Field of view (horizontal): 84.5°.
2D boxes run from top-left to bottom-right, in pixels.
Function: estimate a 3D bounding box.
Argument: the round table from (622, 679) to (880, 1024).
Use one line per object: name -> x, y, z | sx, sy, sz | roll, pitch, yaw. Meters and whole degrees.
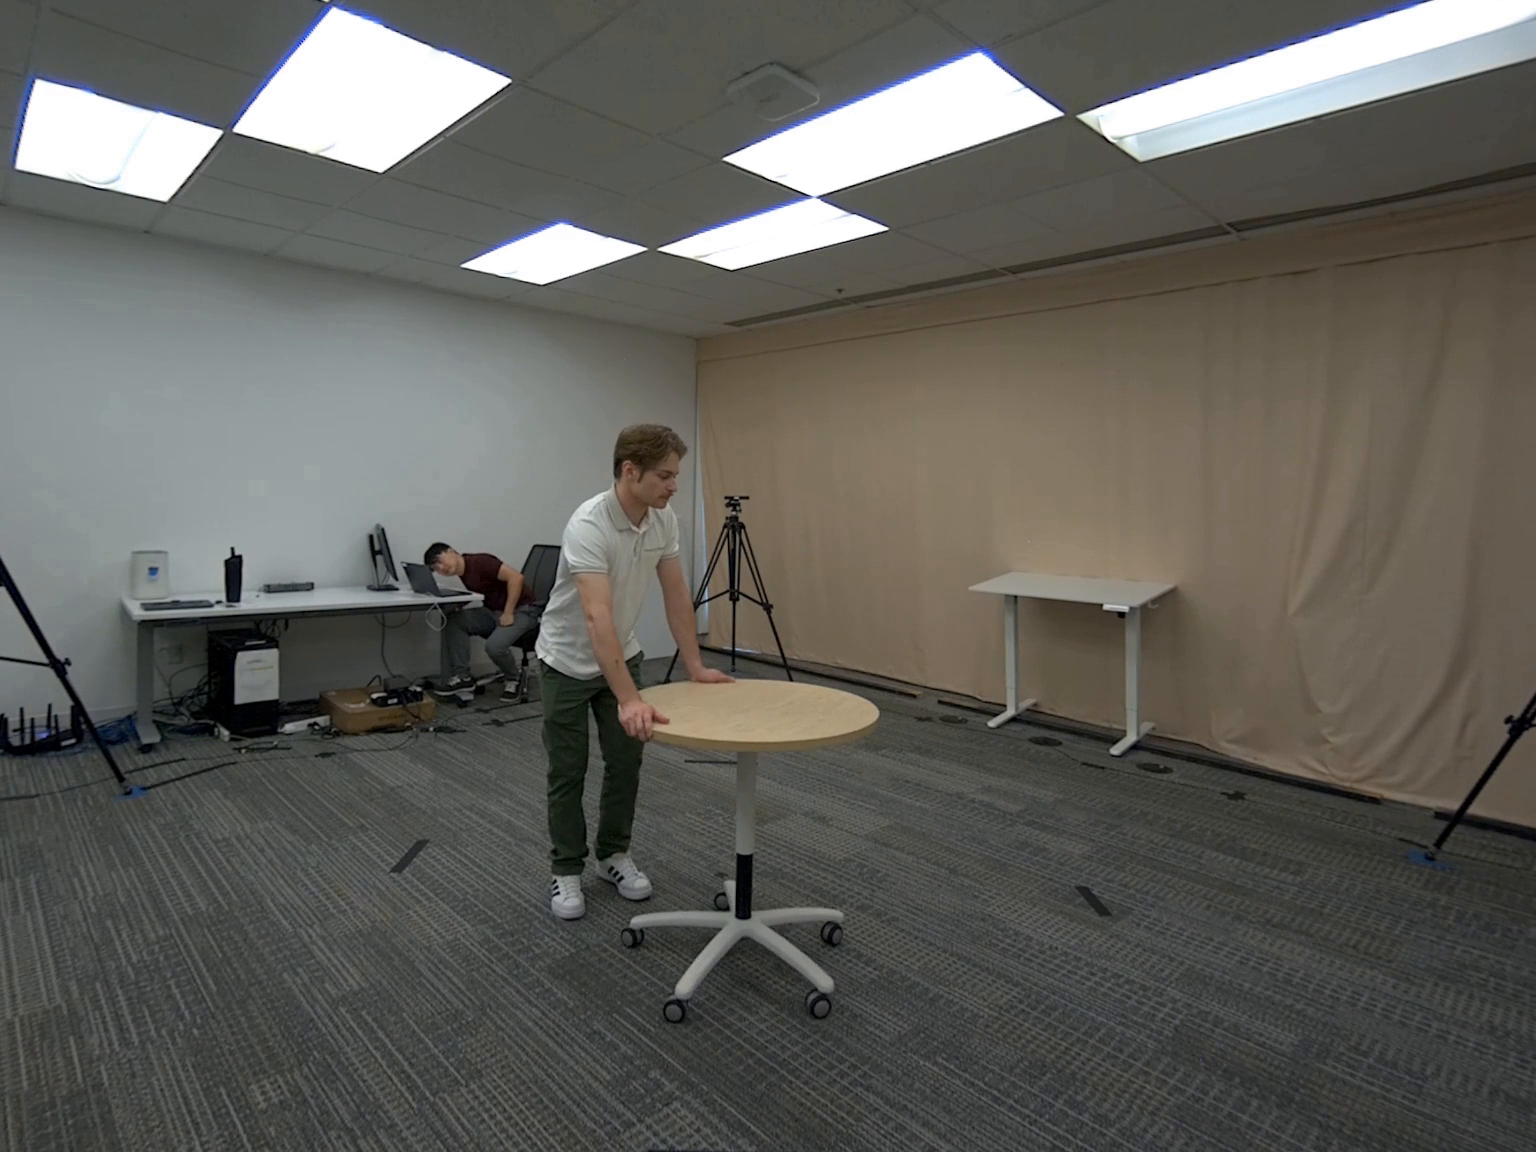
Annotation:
round table -> -0.070, 0.775, 2.503 | 0.763, 0.792, 0.766 | 1, 4, -1
